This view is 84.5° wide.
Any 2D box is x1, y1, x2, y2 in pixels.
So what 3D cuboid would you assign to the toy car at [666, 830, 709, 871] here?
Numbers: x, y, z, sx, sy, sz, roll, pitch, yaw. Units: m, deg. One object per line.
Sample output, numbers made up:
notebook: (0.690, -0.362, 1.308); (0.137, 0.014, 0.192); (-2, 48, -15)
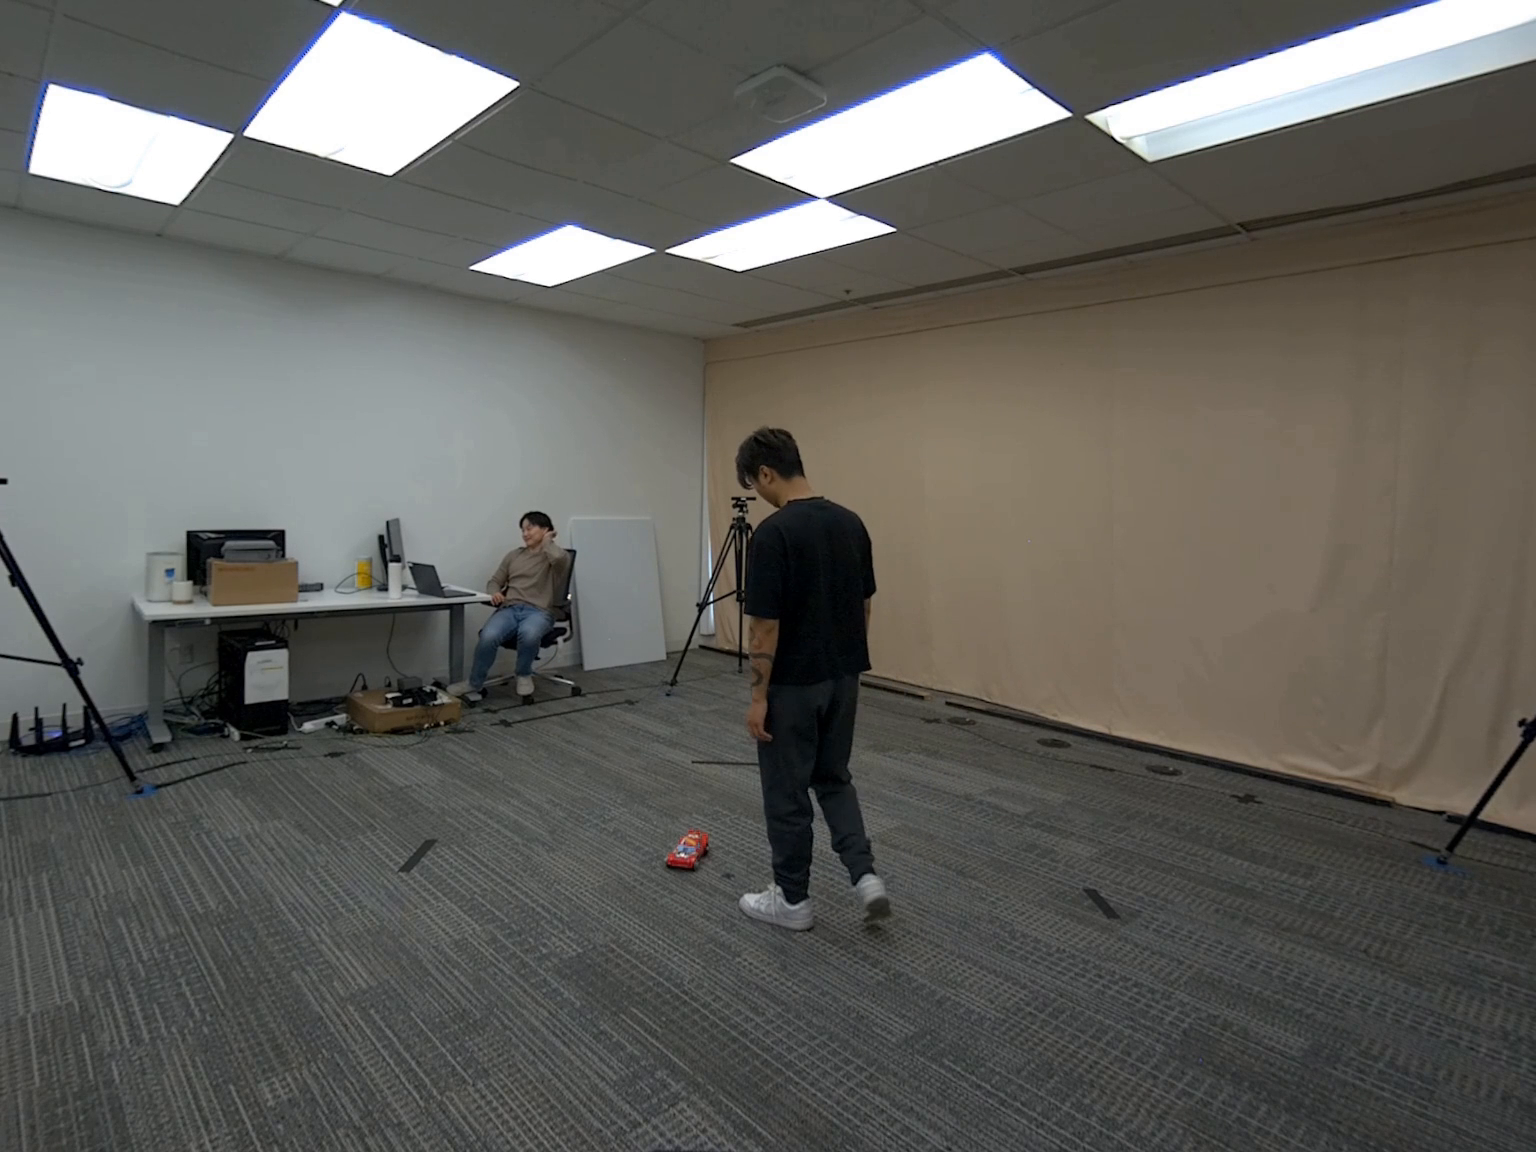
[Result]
toy car: (-0.309, 1.059, 3.243); (0.132, 0.082, 0.254); (2, 16, 14)
